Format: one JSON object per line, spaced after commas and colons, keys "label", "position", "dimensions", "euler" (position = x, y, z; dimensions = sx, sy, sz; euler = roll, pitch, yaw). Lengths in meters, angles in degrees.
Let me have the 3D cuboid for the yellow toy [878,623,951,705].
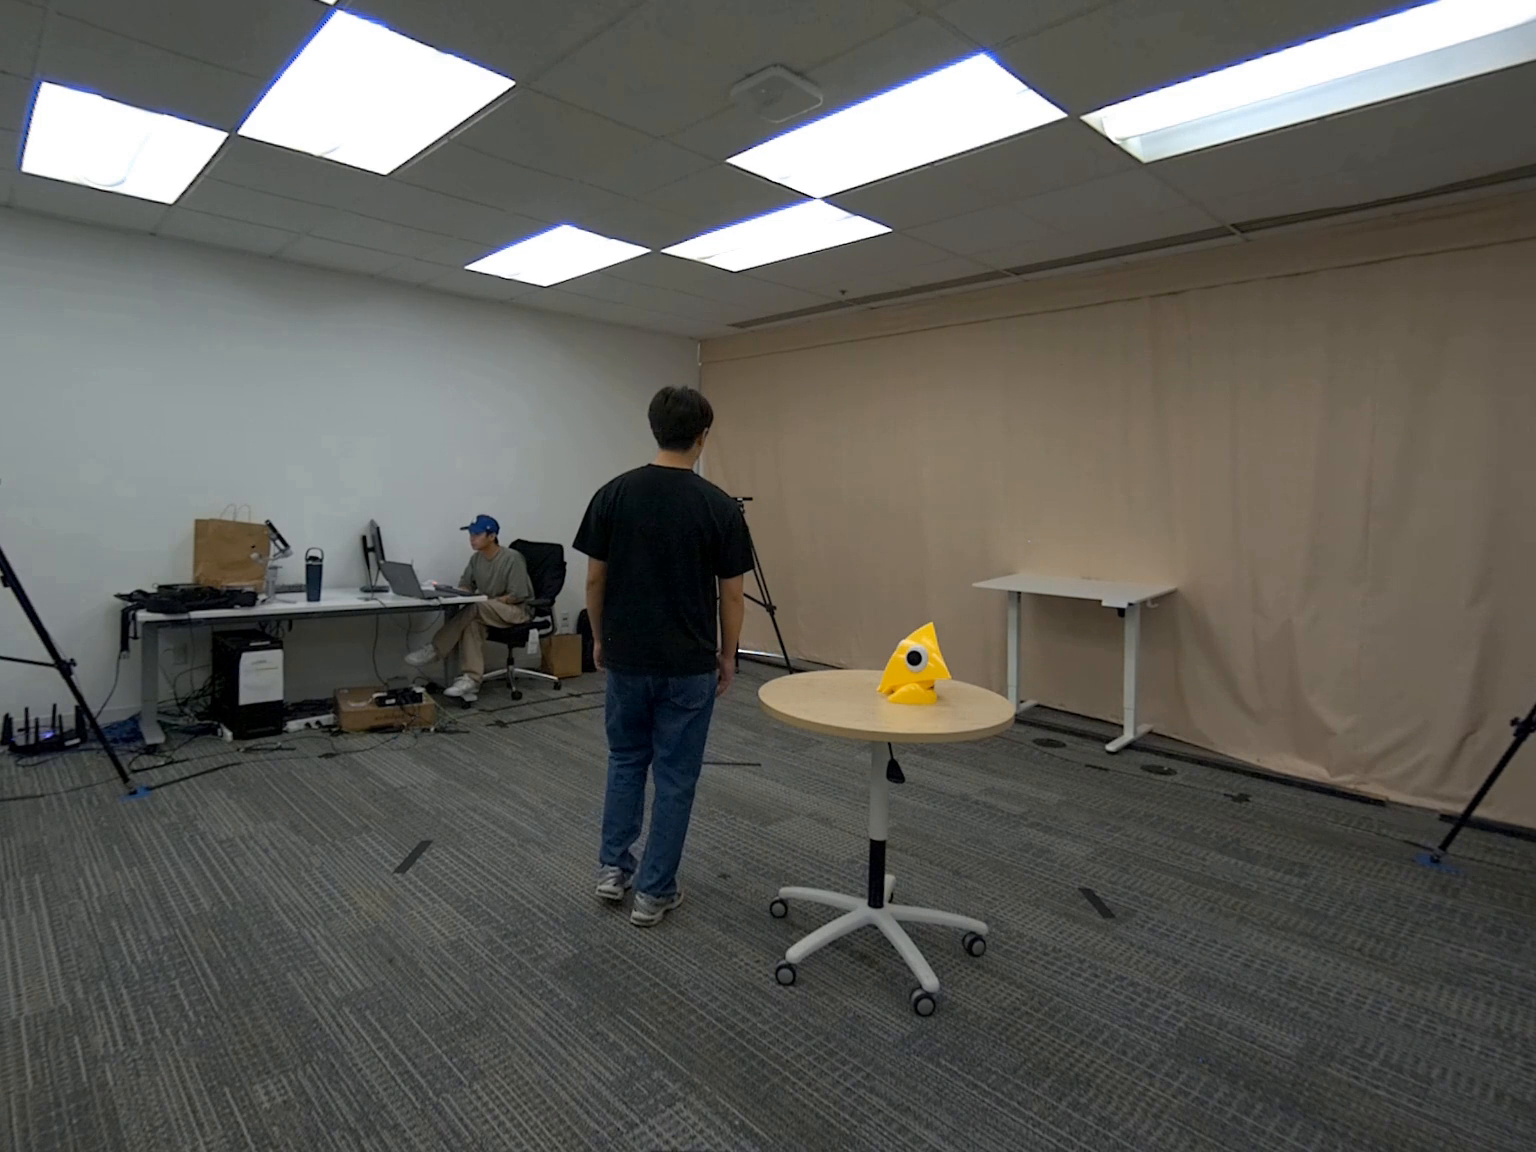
{"label": "yellow toy", "position": [0.436, 0.255, 2.590], "dimensions": [0.192, 0.230, 0.206], "euler": [2, 4, -8]}
